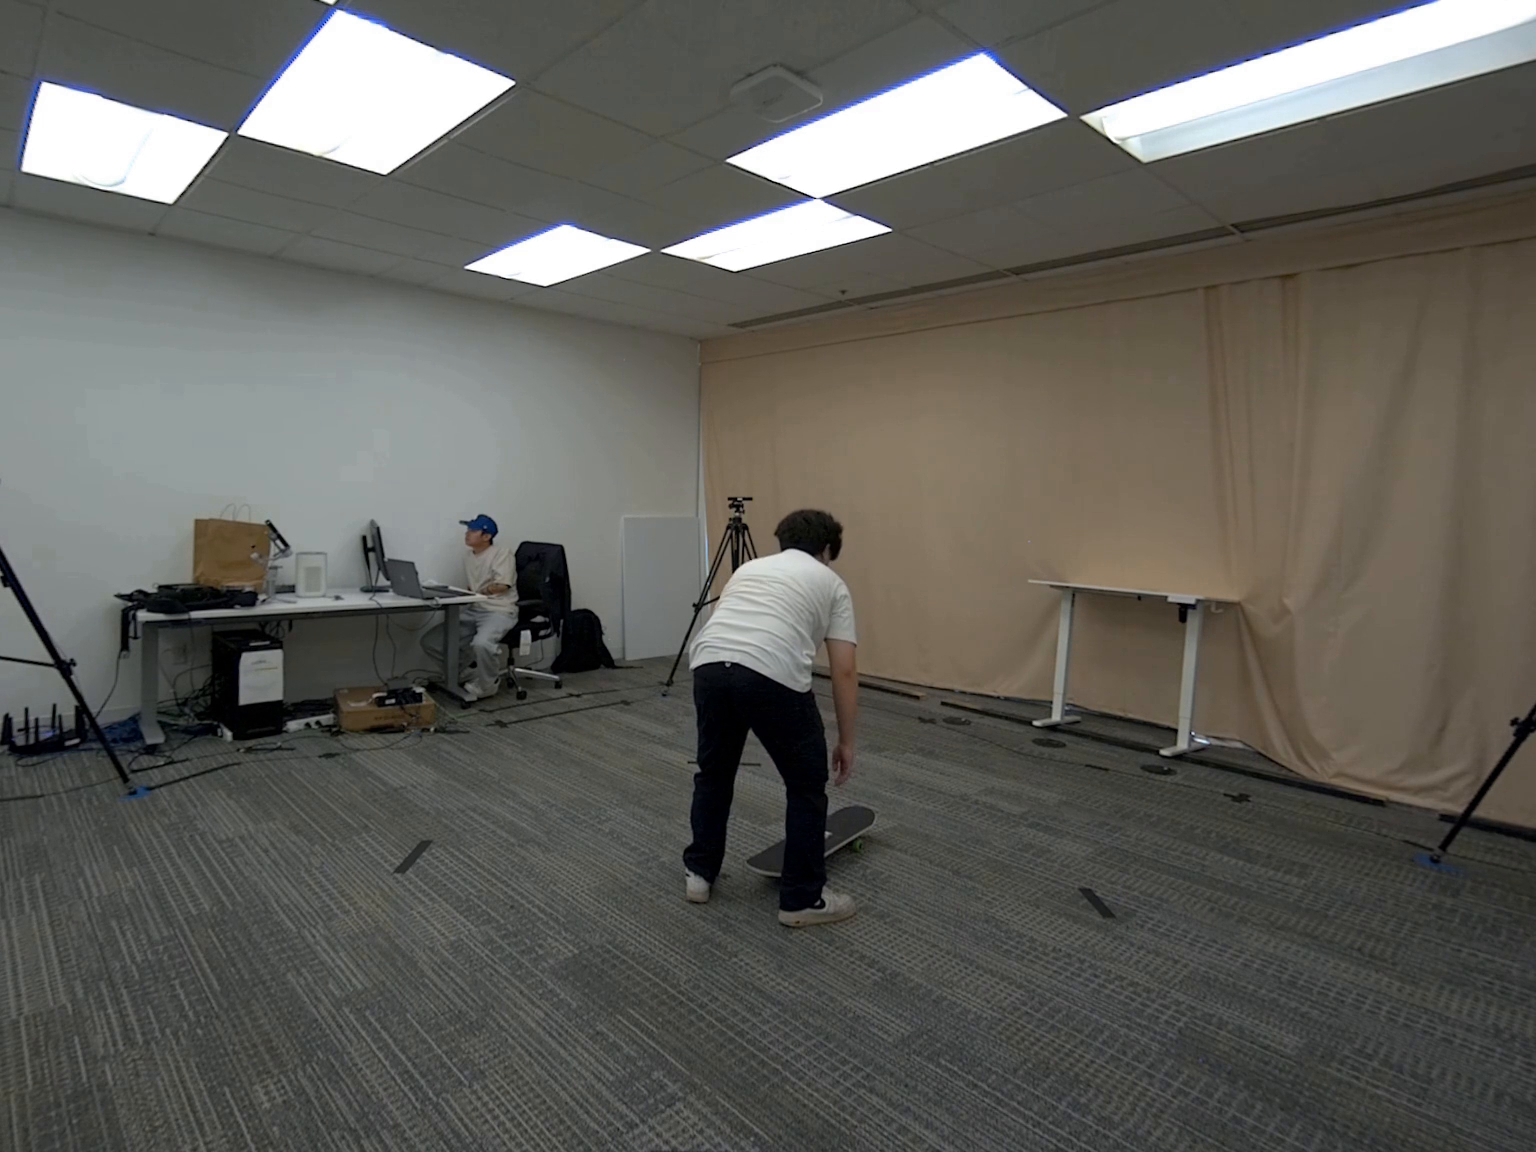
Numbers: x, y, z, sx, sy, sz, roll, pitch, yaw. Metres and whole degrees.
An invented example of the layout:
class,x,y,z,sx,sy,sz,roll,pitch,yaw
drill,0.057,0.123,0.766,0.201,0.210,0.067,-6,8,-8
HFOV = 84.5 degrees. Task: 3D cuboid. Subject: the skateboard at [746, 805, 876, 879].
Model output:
class,x,y,z,sx,sy,sz,roll,pitch,yaw
skateboard,0.176,1.049,3.240,0.198,0.110,0.769,4,6,35
